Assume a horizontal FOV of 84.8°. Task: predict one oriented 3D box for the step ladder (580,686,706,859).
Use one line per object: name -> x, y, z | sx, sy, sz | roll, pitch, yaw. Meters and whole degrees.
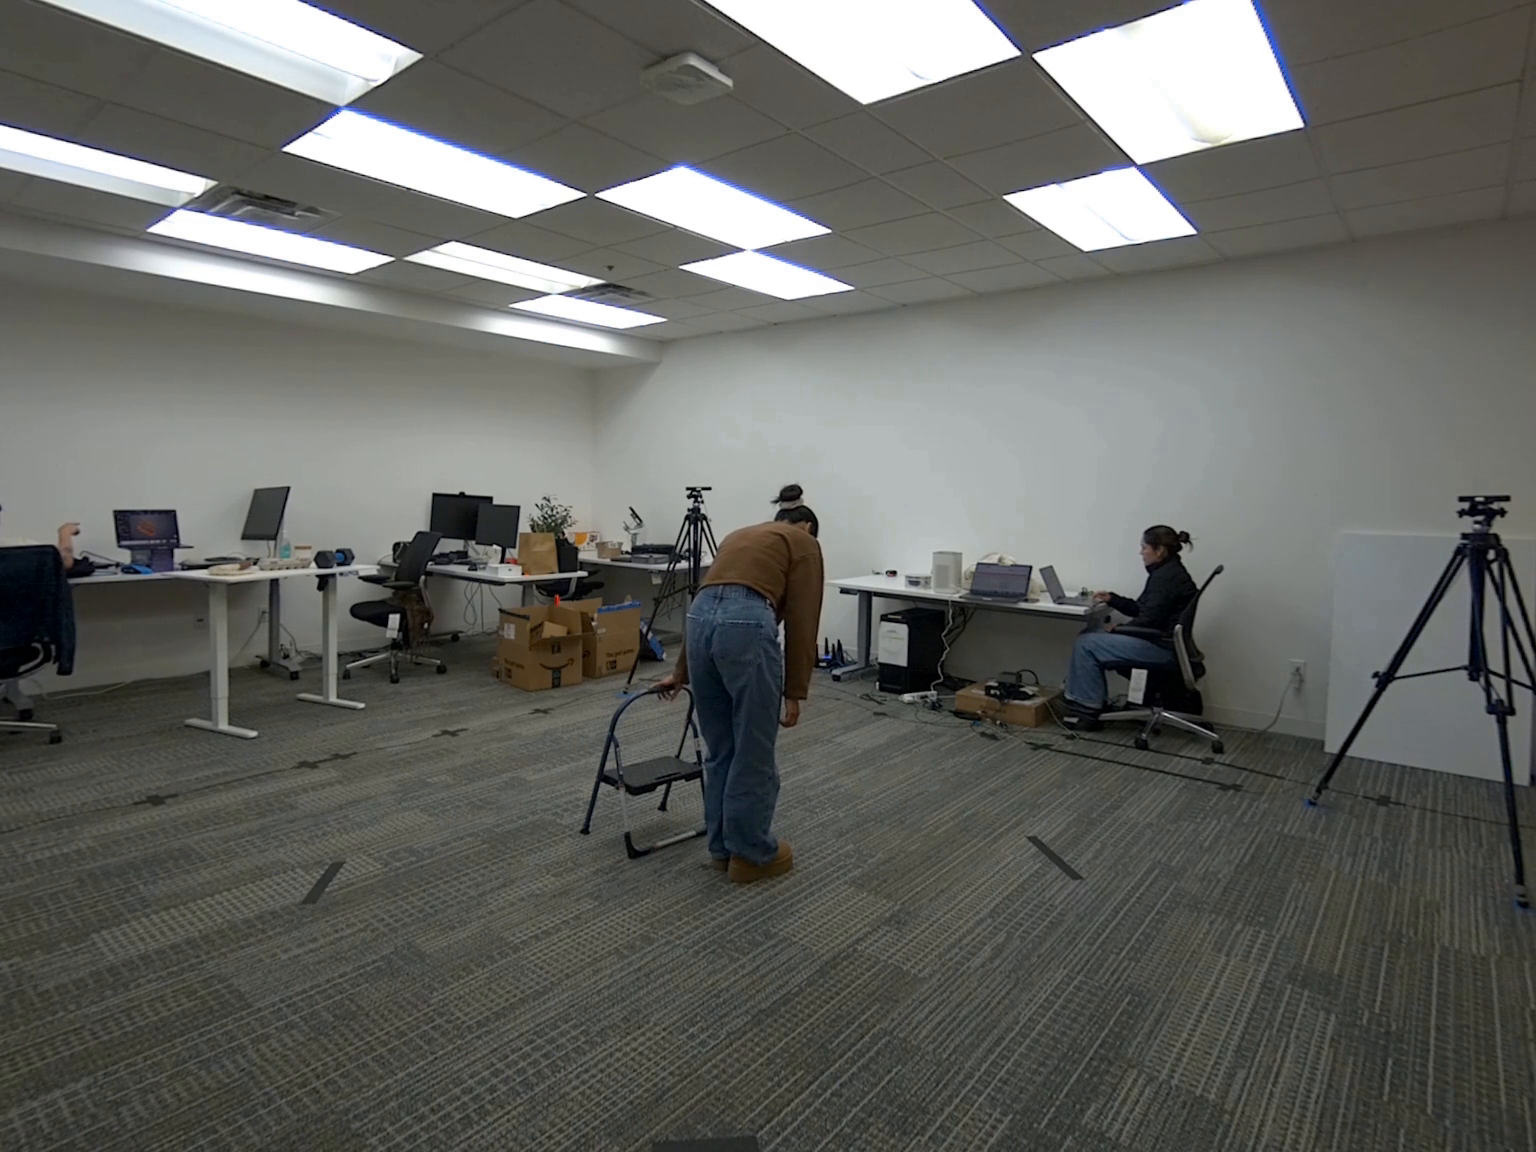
step ladder -> -0.493, 0.727, 3.413 | 0.417, 0.604, 0.361 | -3, 6, -44
